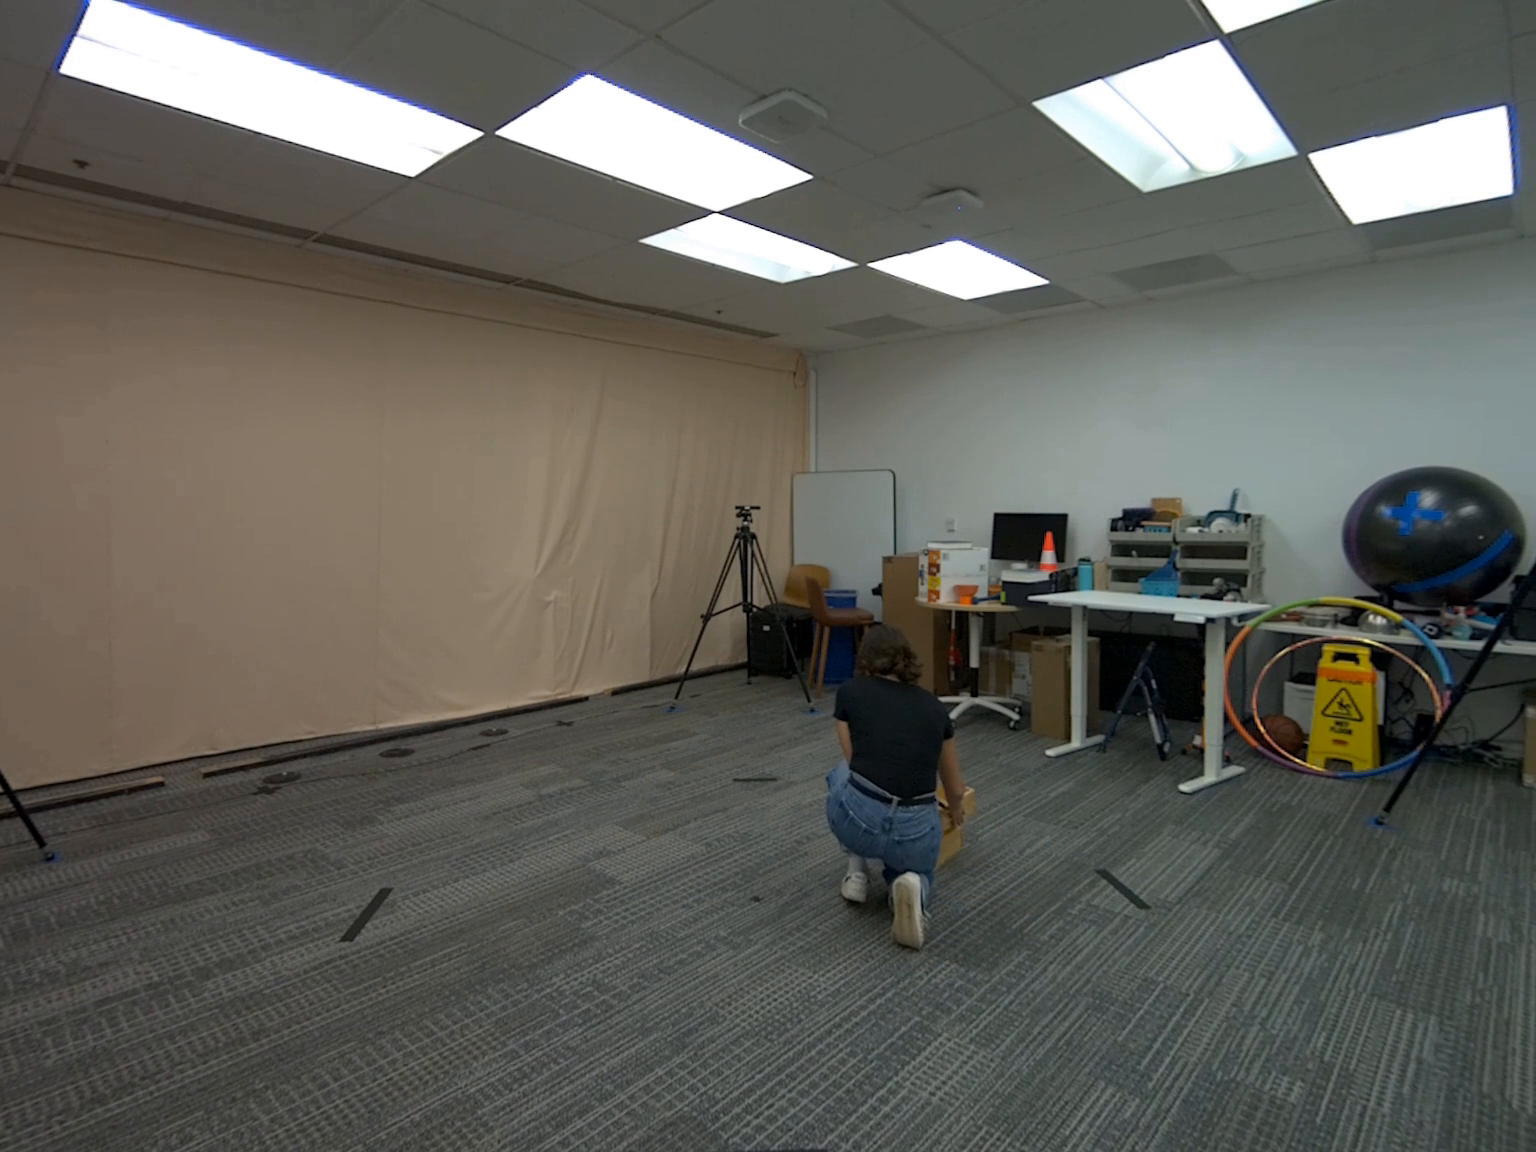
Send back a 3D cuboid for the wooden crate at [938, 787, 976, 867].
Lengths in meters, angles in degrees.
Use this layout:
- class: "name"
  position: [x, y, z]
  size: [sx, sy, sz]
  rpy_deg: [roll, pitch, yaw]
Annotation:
- class: "wooden crate"
  position: [0.618, 0.977, 3.358]
  size: [0.312, 0.273, 0.315]
  rpy_deg: [4, 5, 39]
